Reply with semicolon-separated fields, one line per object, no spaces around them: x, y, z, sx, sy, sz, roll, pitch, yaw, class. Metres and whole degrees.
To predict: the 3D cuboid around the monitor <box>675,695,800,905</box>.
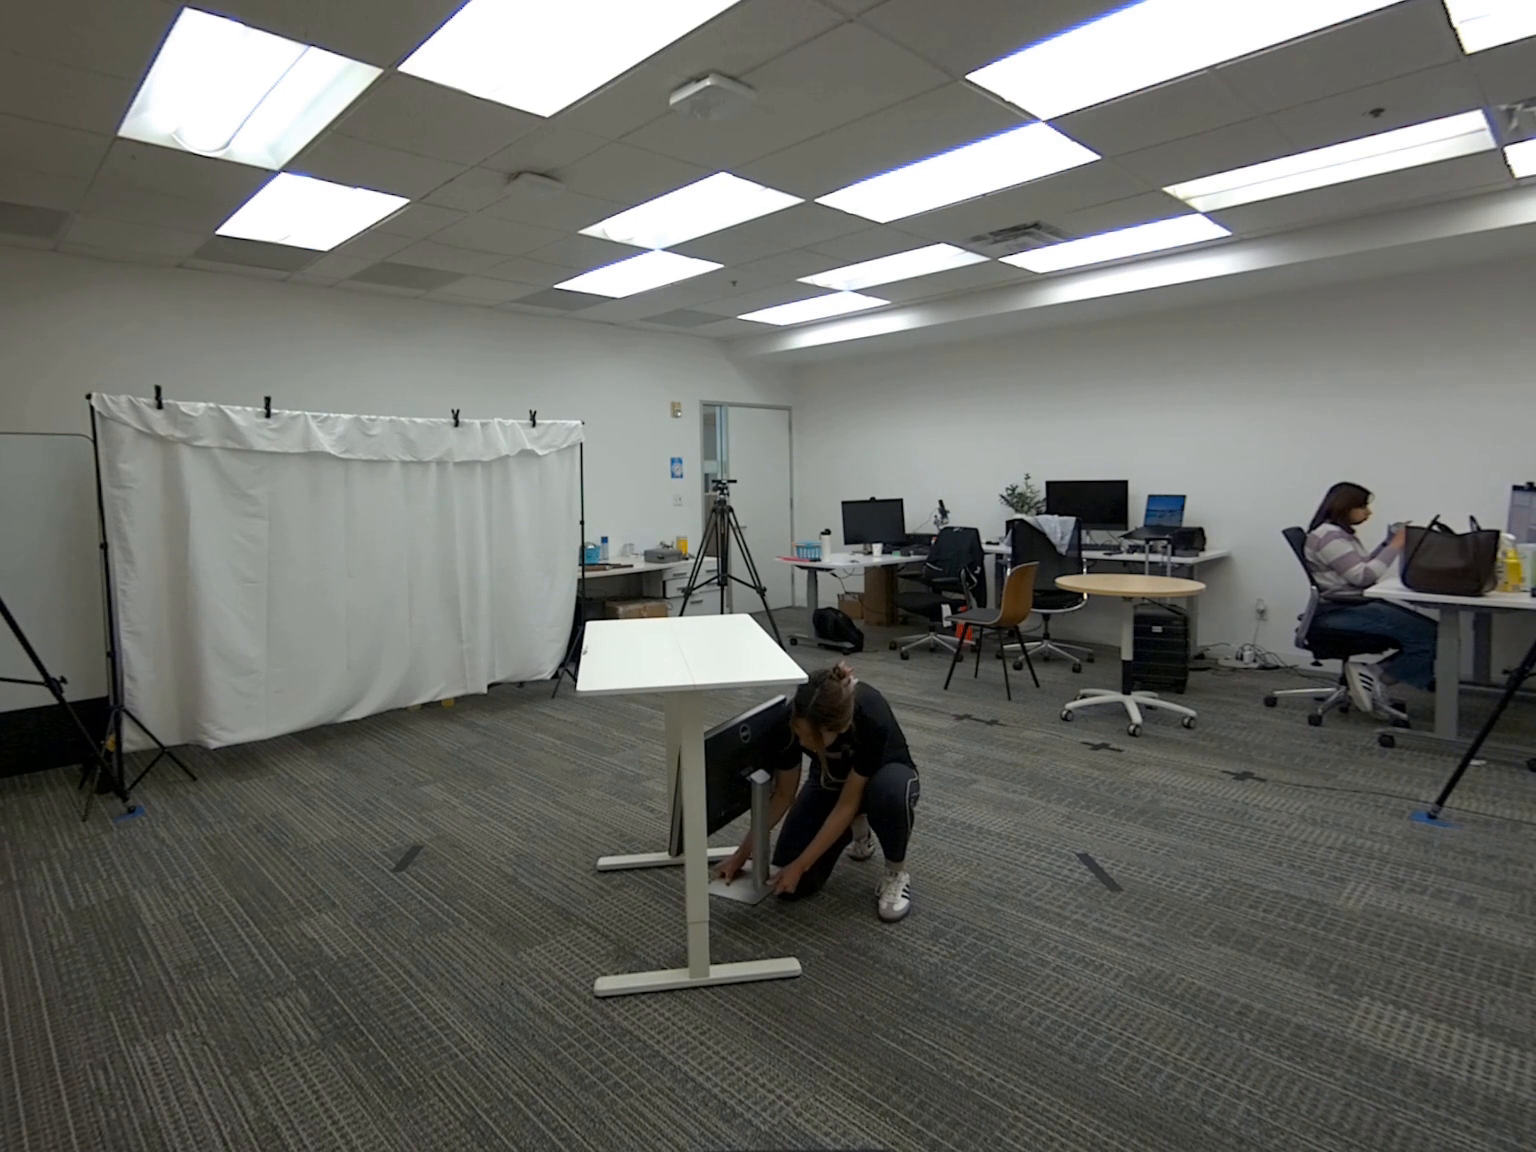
-0.072;0.715;2.712;0.192;0.520;0.527;-1;7;34;monitor
